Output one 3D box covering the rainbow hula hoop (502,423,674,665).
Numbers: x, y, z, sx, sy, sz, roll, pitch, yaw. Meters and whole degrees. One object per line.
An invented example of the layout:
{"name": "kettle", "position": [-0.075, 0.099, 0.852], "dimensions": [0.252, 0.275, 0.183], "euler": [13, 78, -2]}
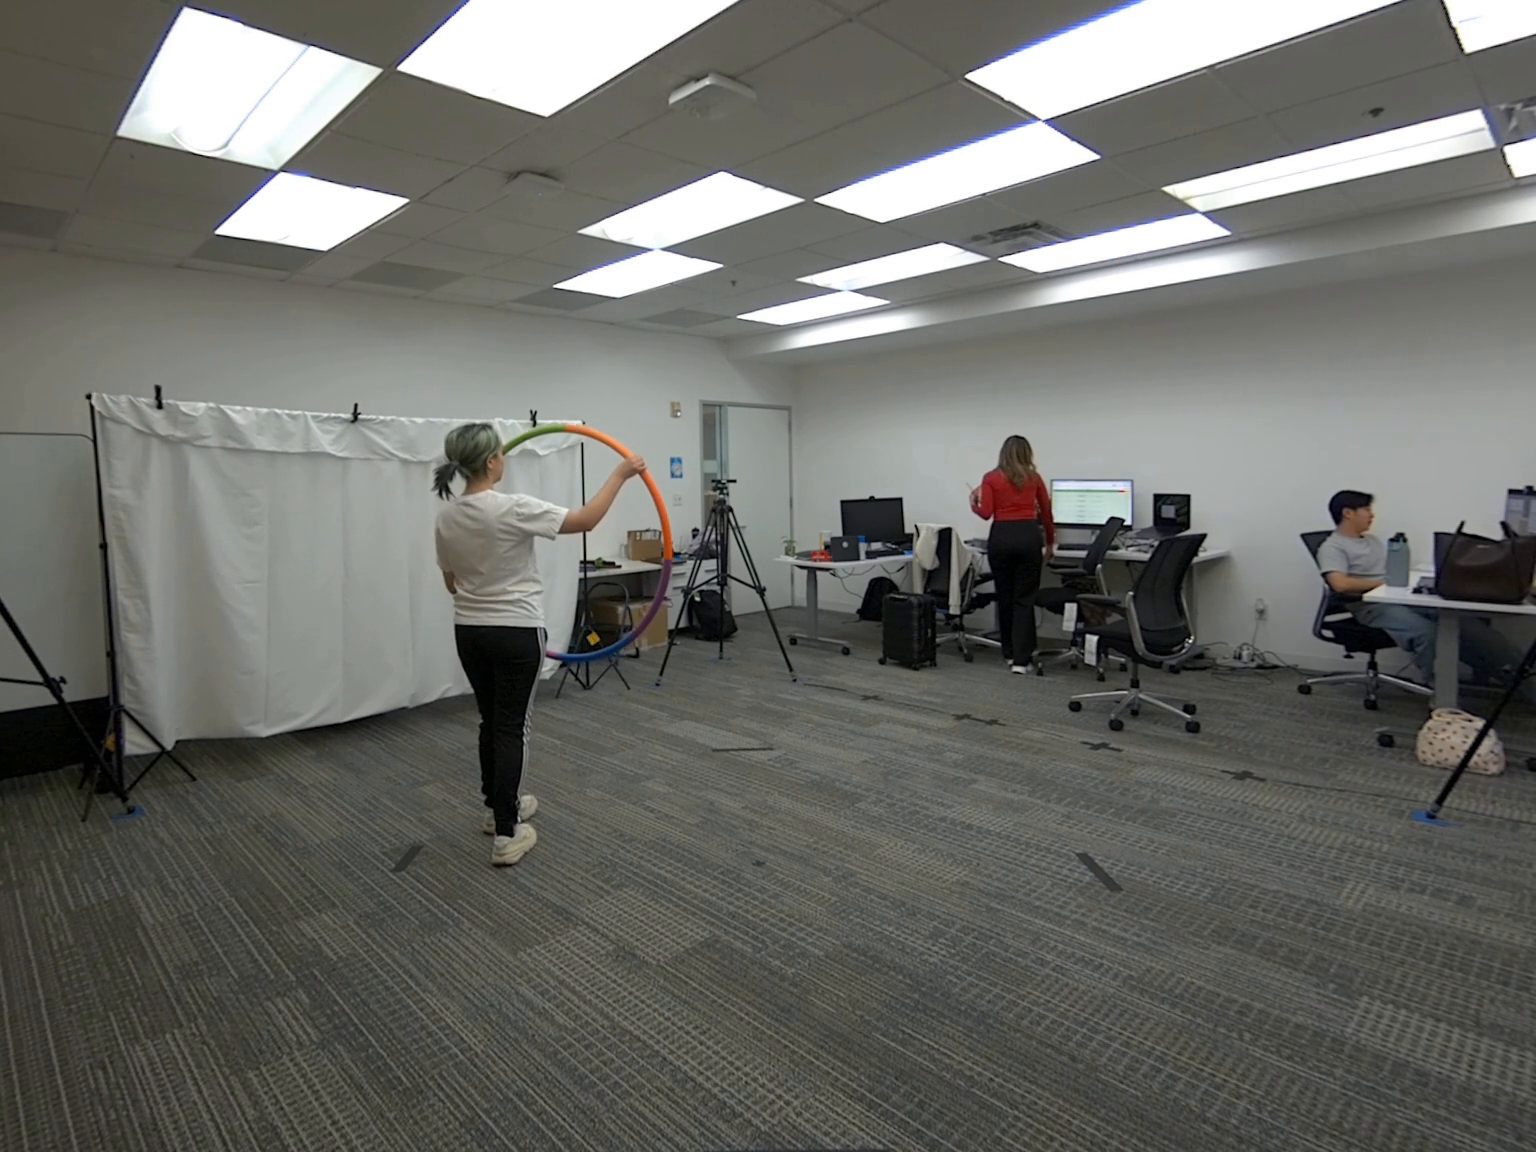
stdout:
{"name": "rainbow hula hoop", "position": [-0.833, -0.125, 3.507], "dimensions": [1.000, 0.973, 0.035], "euler": [1, 7, 23]}
